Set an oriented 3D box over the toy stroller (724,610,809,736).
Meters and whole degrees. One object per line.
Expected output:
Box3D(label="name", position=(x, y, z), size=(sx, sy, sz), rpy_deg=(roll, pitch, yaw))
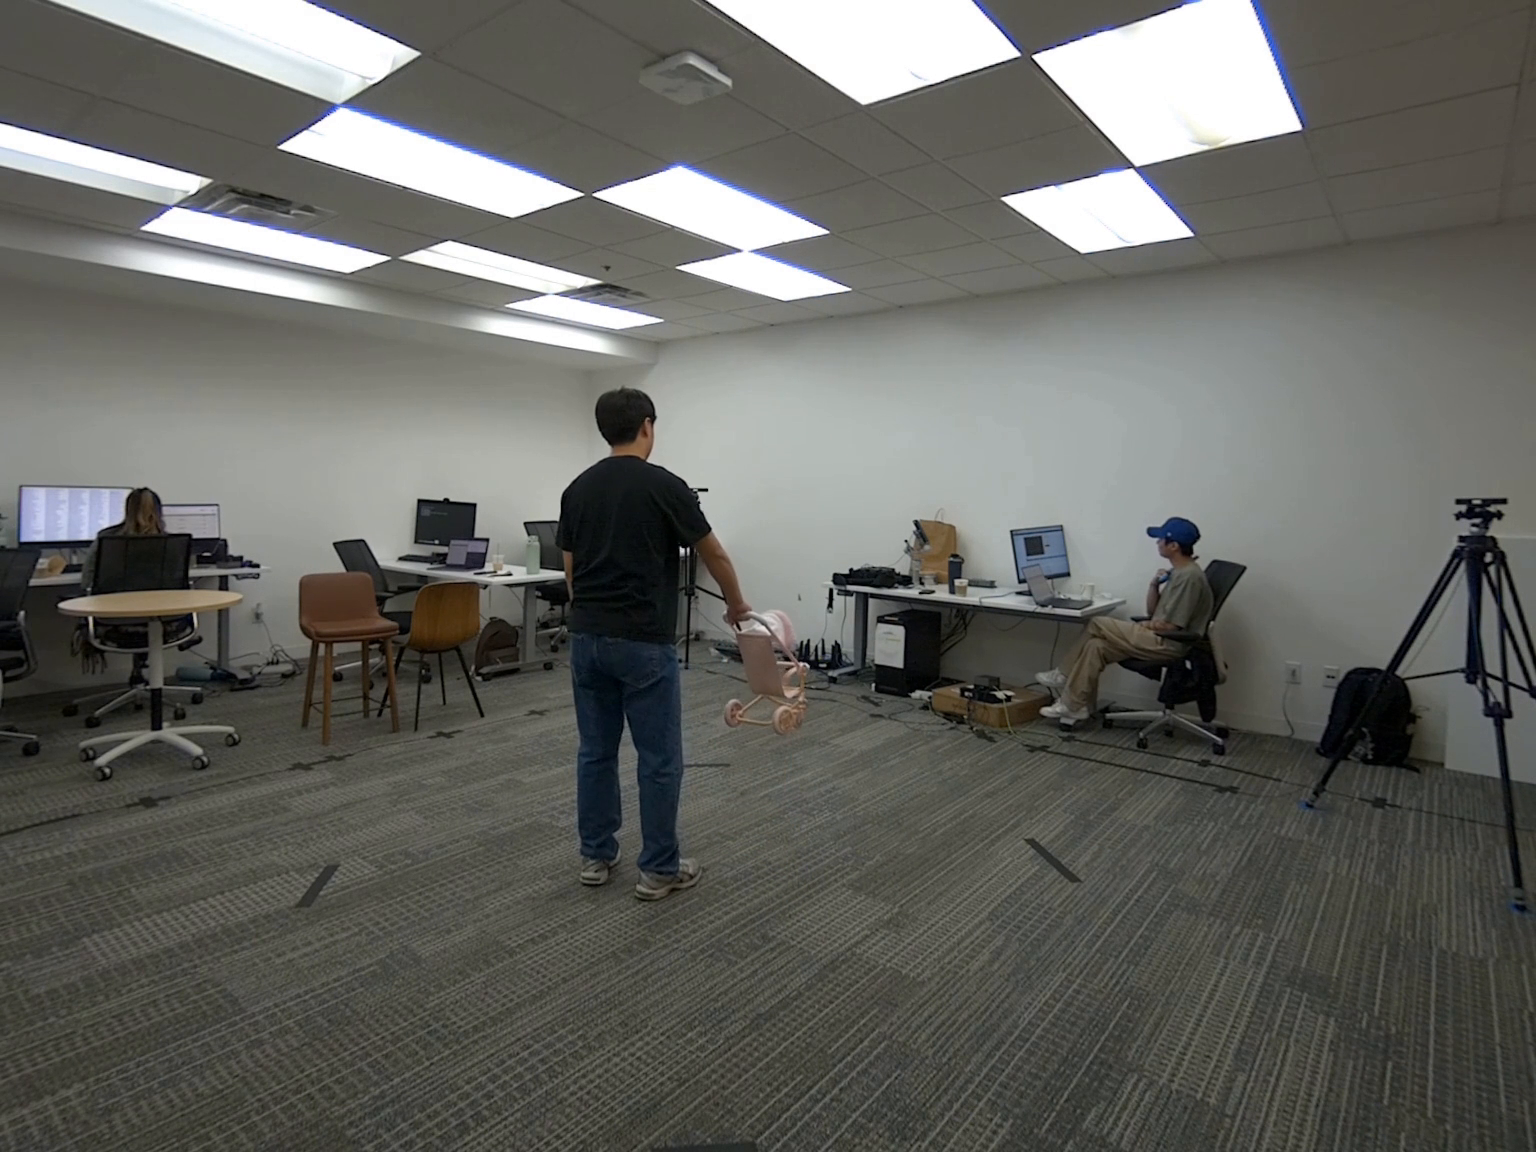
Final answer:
Box3D(label="toy stroller", position=(0.001, 0.376, 3.361), size=(0.290, 0.533, 0.332), rpy_deg=(-2, 6, 45))
